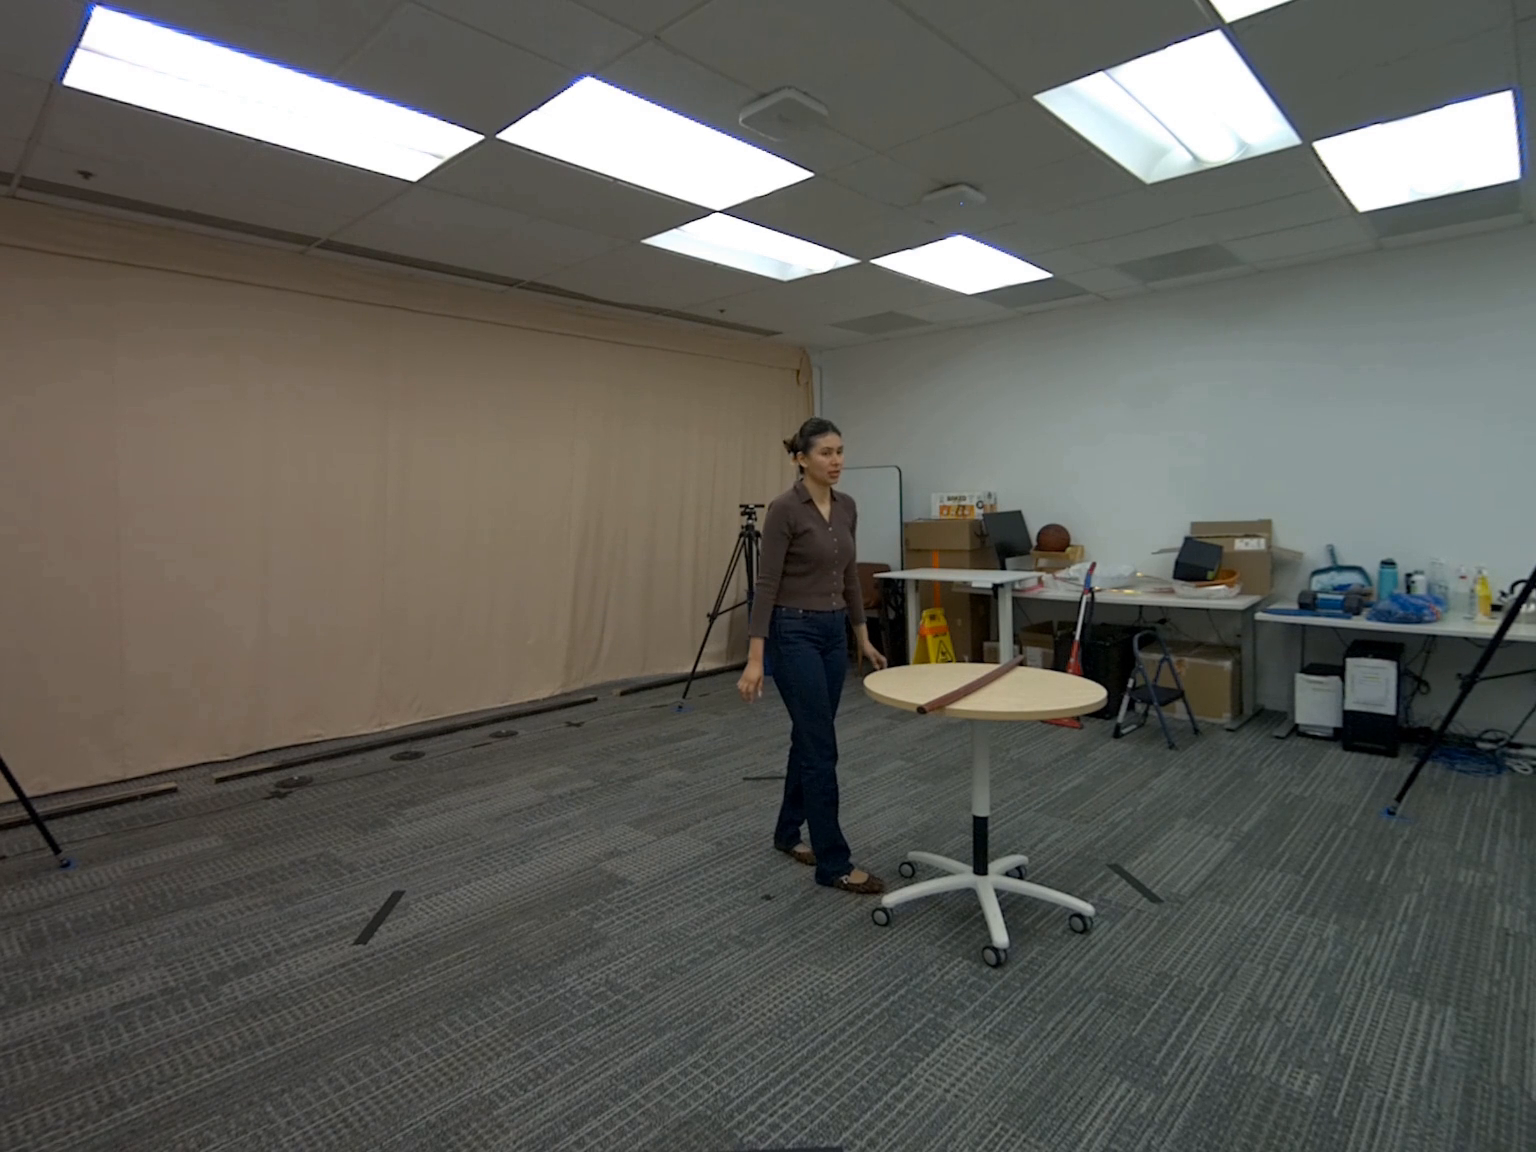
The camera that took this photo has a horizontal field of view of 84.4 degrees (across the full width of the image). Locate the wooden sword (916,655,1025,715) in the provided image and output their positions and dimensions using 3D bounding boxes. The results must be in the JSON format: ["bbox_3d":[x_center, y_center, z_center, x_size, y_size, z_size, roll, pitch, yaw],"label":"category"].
[{"bbox_3d":[0.713,0.360,2.748,0.025,0.051,0.996,29,20,28],"label":"wooden sword"}]
